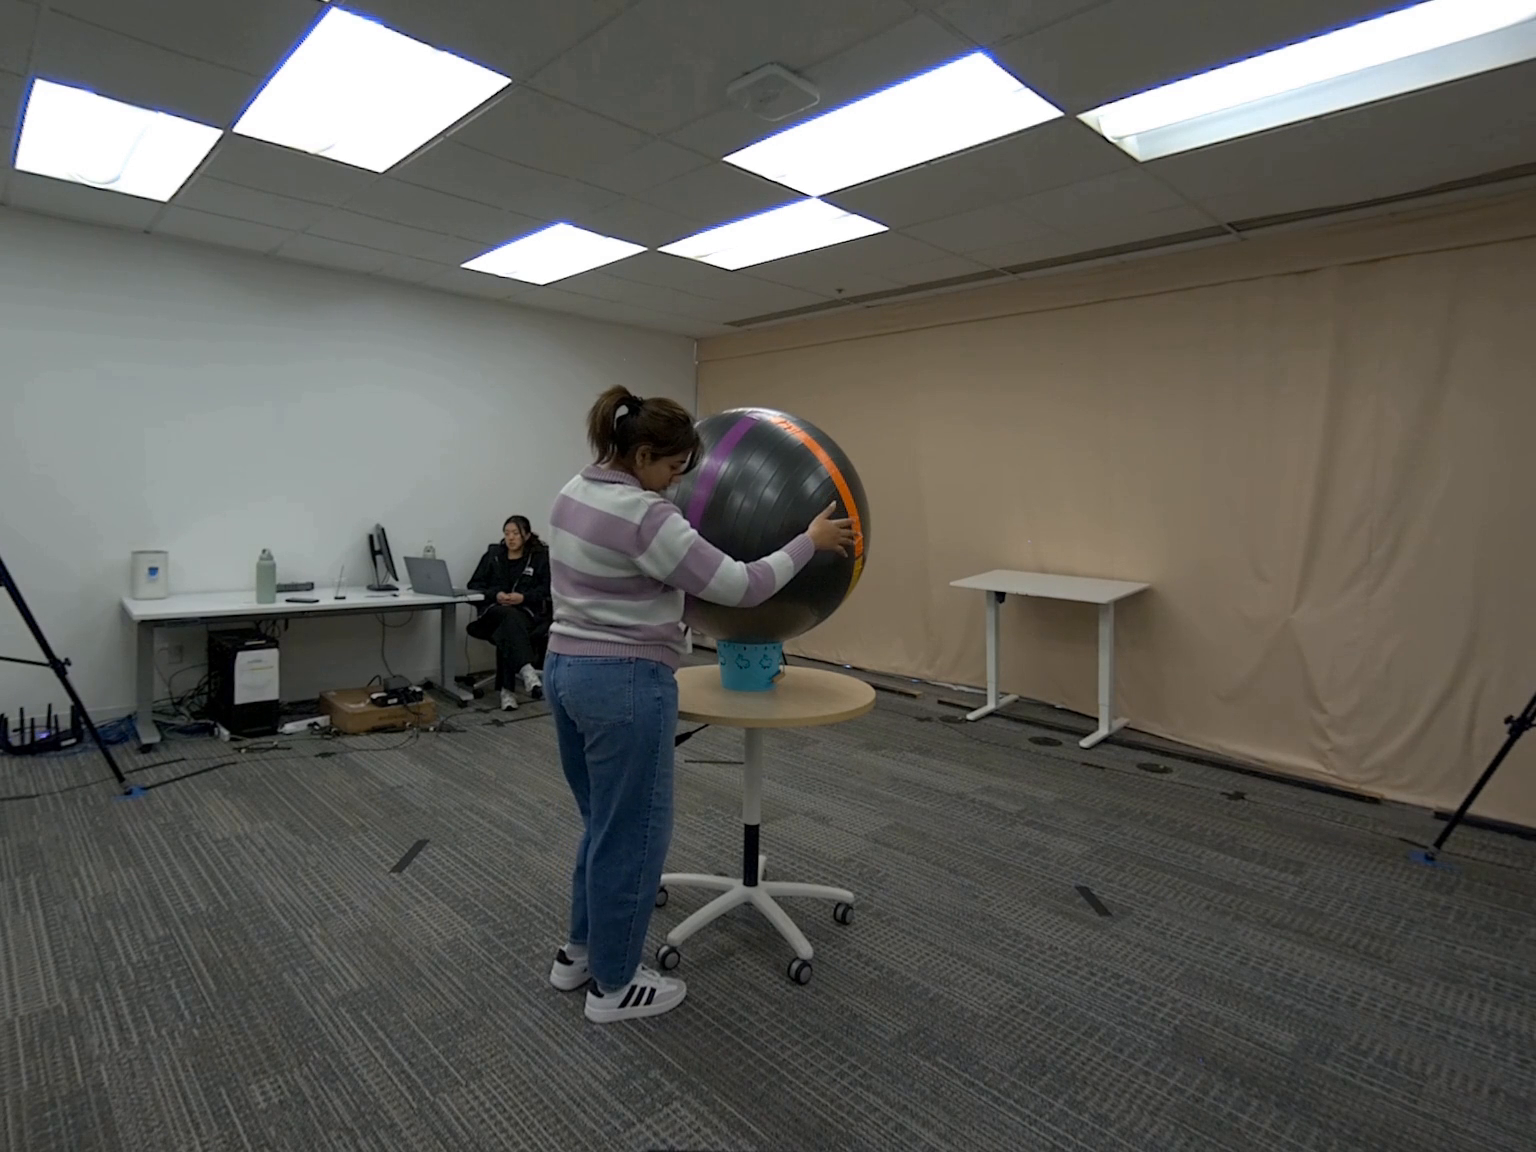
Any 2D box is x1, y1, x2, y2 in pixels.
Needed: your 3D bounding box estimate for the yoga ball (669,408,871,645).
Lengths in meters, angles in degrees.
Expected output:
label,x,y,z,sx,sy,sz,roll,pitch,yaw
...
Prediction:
label,x,y,z,sx,sy,sz,roll,pitch,yaw
yoga ball,-0.048,-0.155,2.710,0.757,0.756,0.761,1,4,-1
